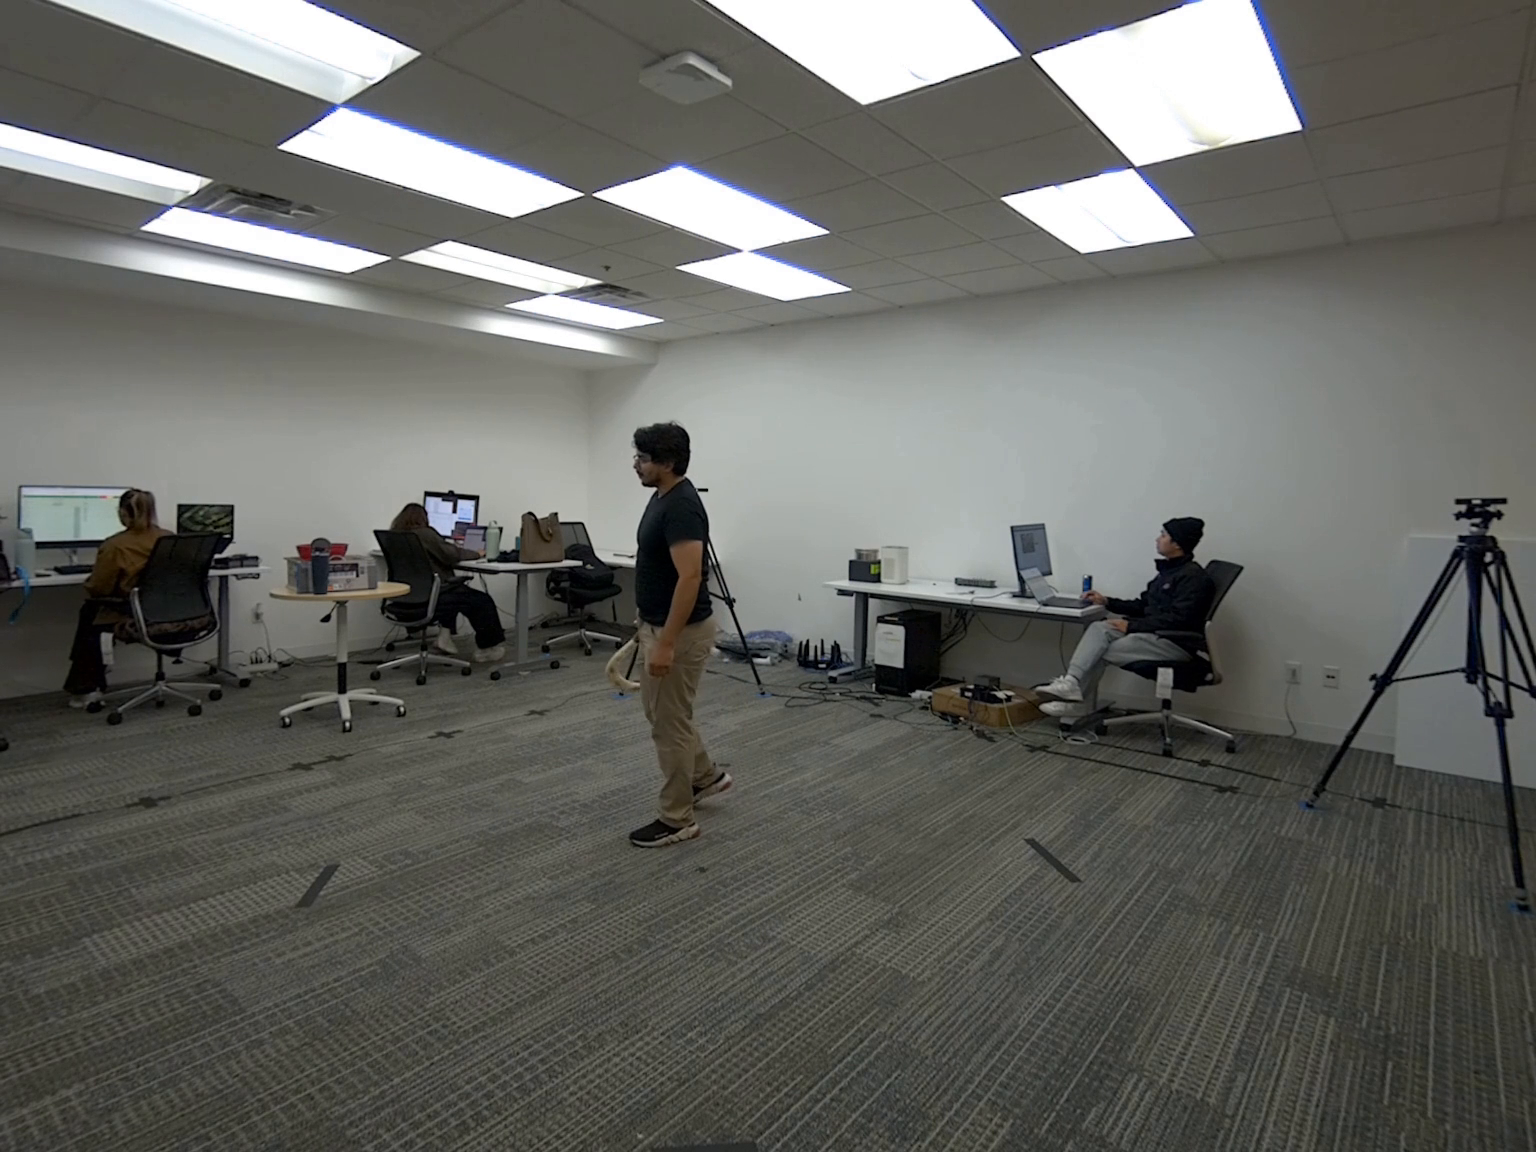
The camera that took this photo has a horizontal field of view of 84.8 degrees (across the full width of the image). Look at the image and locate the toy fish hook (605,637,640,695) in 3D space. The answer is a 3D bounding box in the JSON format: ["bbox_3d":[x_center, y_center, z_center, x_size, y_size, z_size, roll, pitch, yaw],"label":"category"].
[{"bbox_3d":[-0.591,0.343,3.875,0.221,0.502,0.049,23,30,-13],"label":"toy fish hook"}]
